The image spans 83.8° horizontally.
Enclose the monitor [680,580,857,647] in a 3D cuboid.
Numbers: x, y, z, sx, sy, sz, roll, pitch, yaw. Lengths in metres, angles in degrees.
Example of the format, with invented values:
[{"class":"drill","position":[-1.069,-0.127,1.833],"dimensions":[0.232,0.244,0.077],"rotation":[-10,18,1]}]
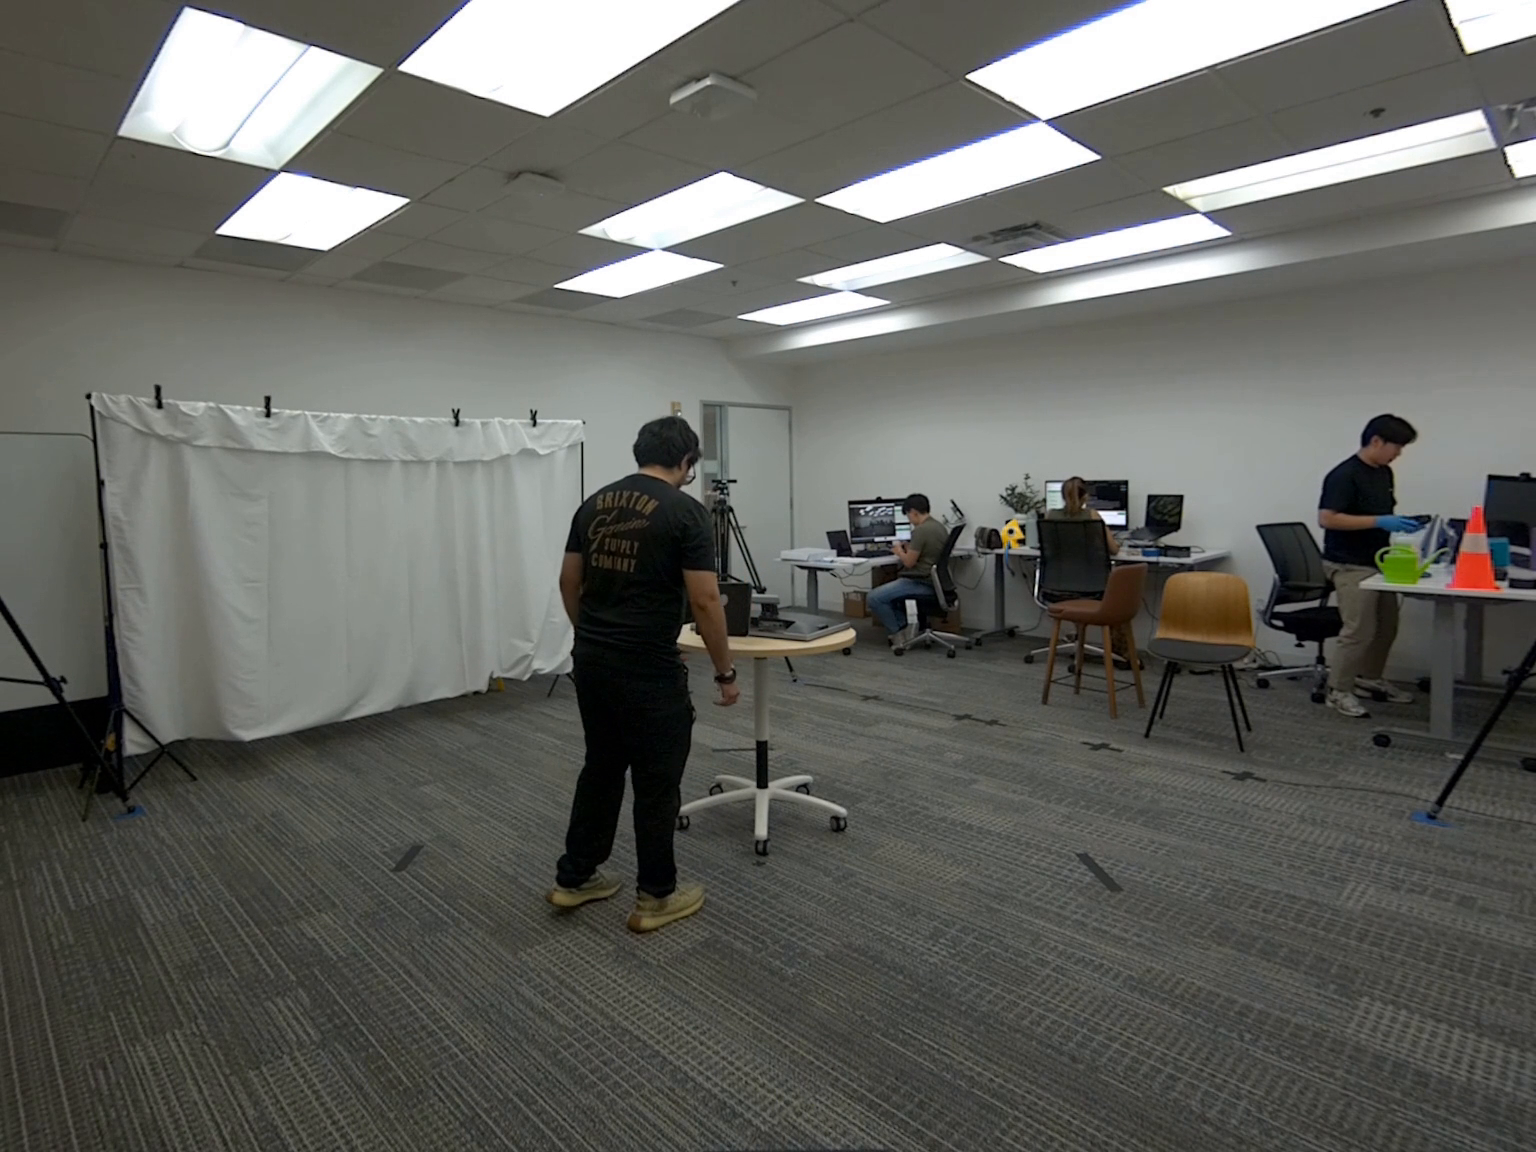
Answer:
[{"class":"monitor","position":[-0.029,0.134,3.453],"dimensions":[0.581,0.210,0.538],"rotation":[3,1,33]}]
